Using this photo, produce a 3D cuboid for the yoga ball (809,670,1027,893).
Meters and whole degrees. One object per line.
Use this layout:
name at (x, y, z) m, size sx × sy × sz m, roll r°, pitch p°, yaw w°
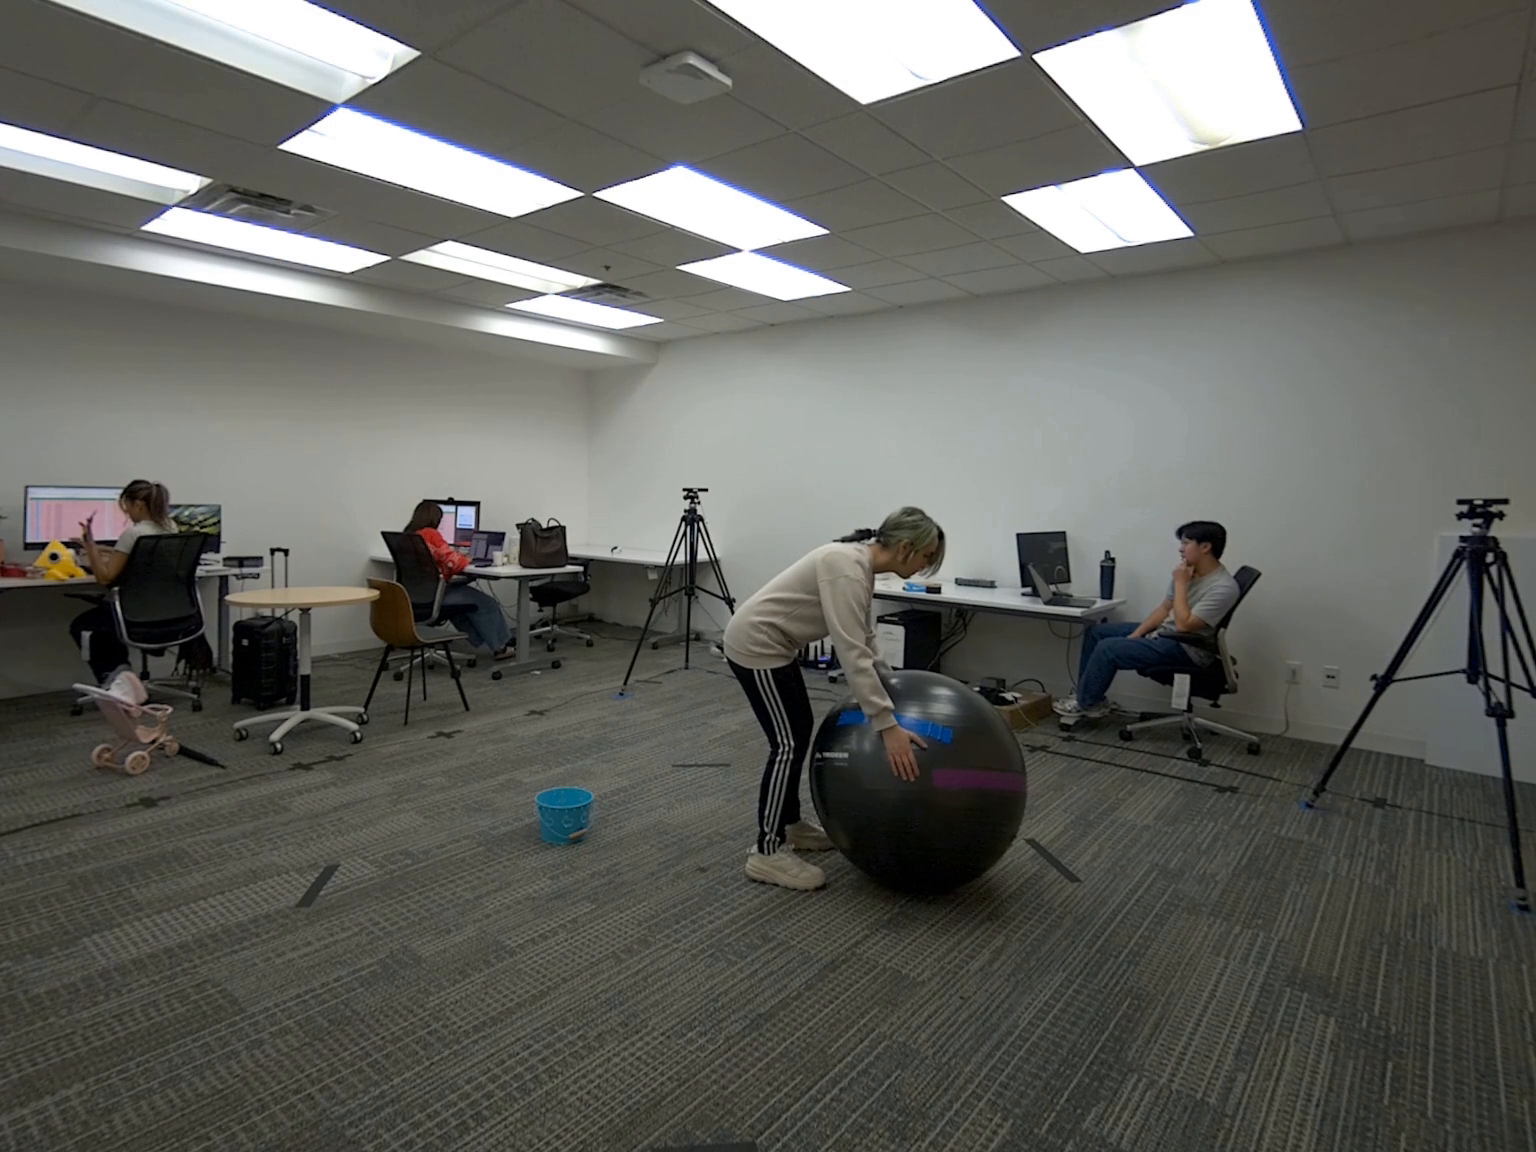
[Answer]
yoga ball at (0.535, 0.706, 3.054) m, size 0.757 × 0.755 × 0.762 m, roll 1°, pitch 4°, yaw -2°
